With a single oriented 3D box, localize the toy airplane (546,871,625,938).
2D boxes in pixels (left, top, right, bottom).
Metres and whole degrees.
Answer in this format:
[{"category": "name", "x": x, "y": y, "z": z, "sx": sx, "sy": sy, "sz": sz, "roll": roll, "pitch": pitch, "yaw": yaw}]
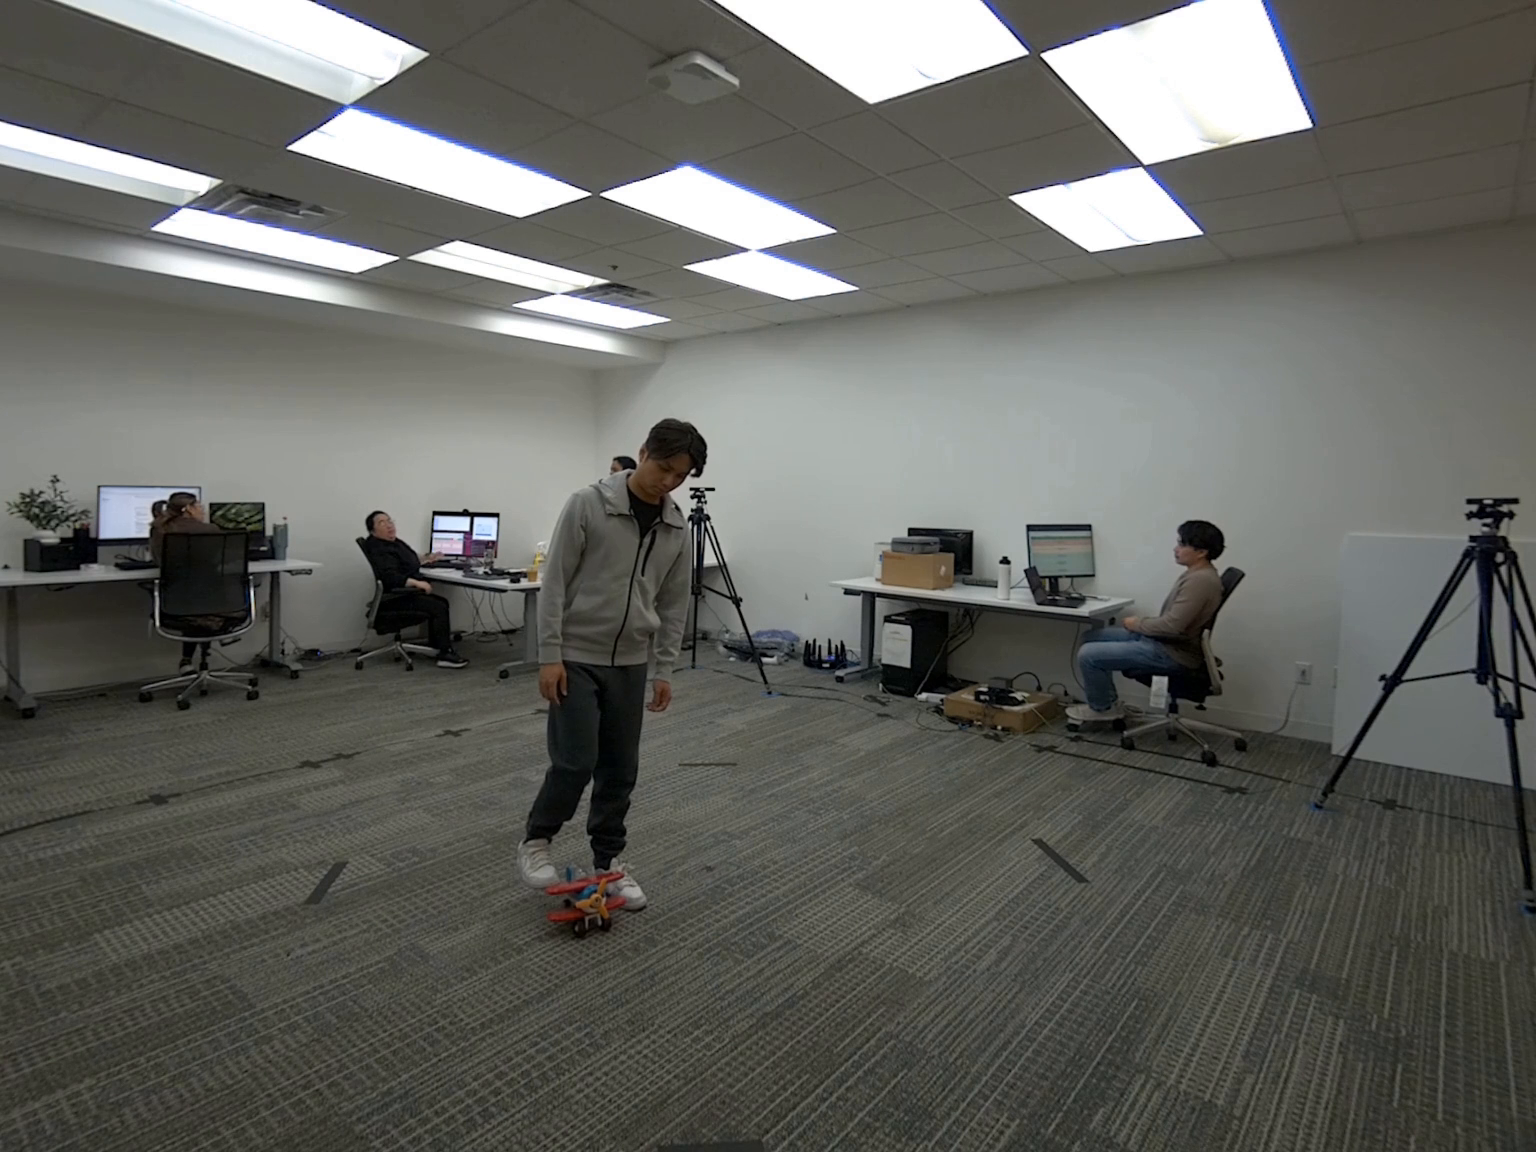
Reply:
[{"category": "toy airplane", "x": -0.610, "y": 1.022, "z": 2.705, "sx": 0.267, "sy": 0.155, "sz": 0.245, "roll": 5, "pitch": 8, "yaw": 30}]
